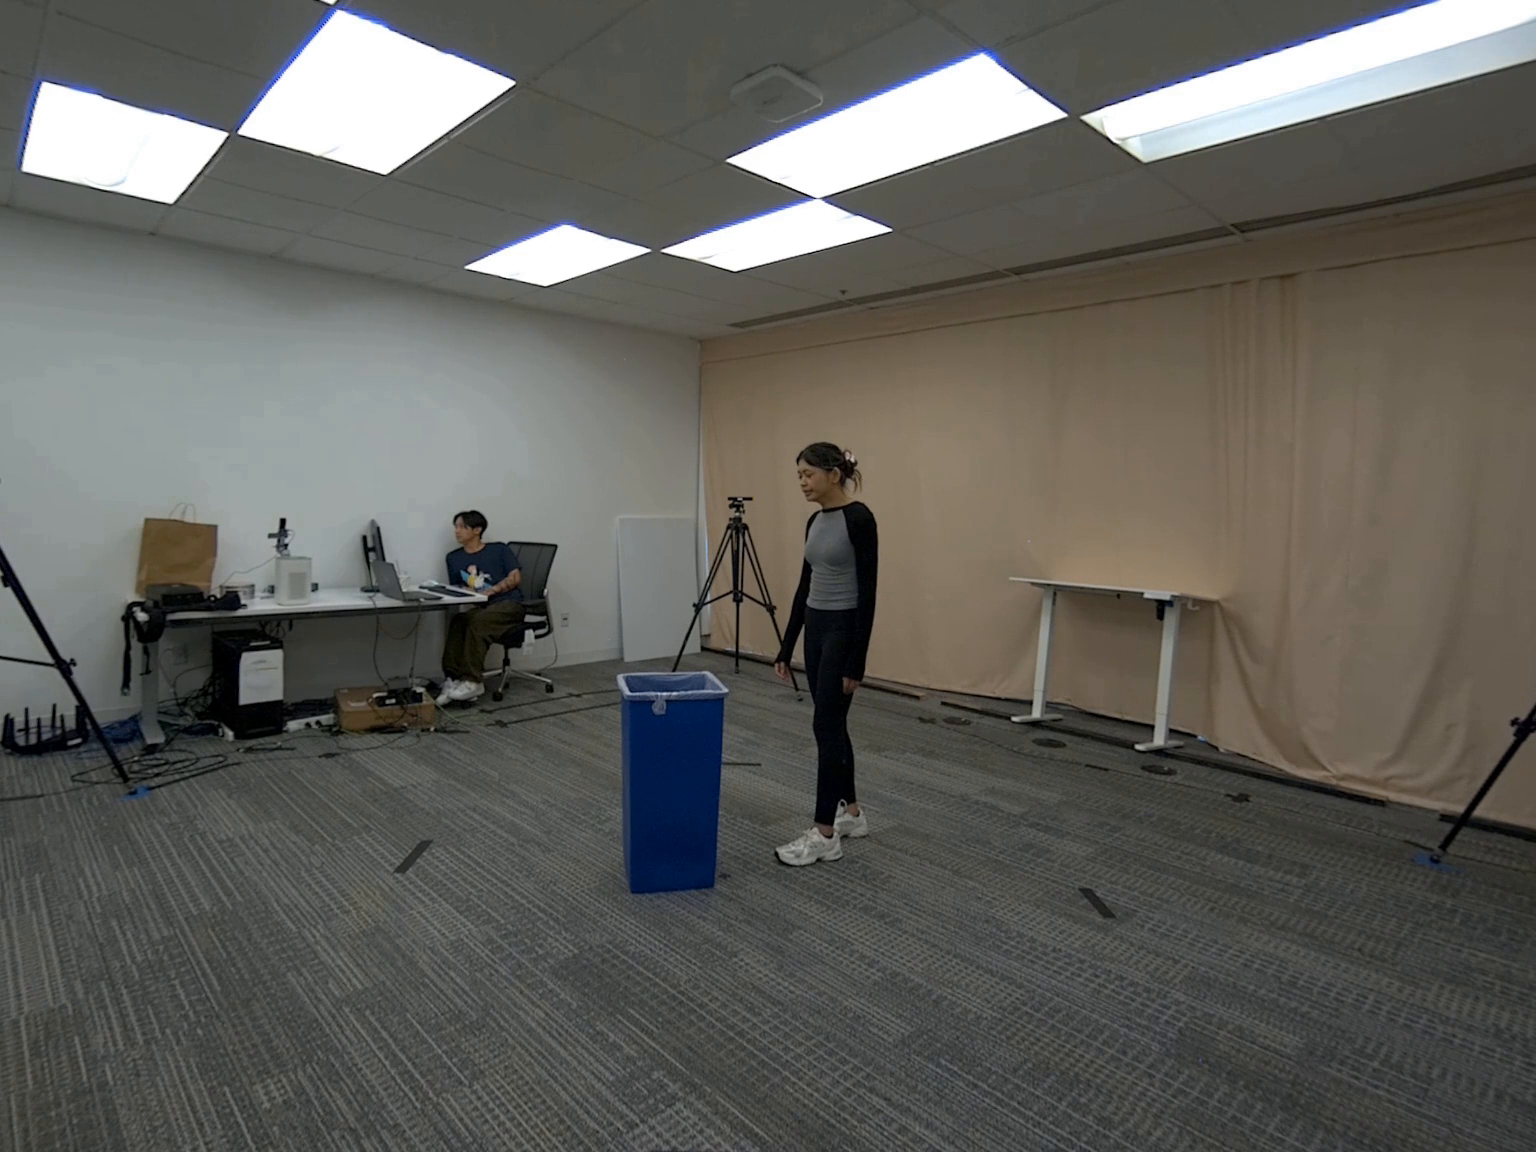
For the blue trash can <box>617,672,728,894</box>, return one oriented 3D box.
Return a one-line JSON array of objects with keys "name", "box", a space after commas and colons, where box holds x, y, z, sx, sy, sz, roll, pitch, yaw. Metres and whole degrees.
[{"name": "blue trash can", "box": [-0.374, 0.745, 3.105, 0.374, 0.712, 0.379, 1, 3, -14]}]
